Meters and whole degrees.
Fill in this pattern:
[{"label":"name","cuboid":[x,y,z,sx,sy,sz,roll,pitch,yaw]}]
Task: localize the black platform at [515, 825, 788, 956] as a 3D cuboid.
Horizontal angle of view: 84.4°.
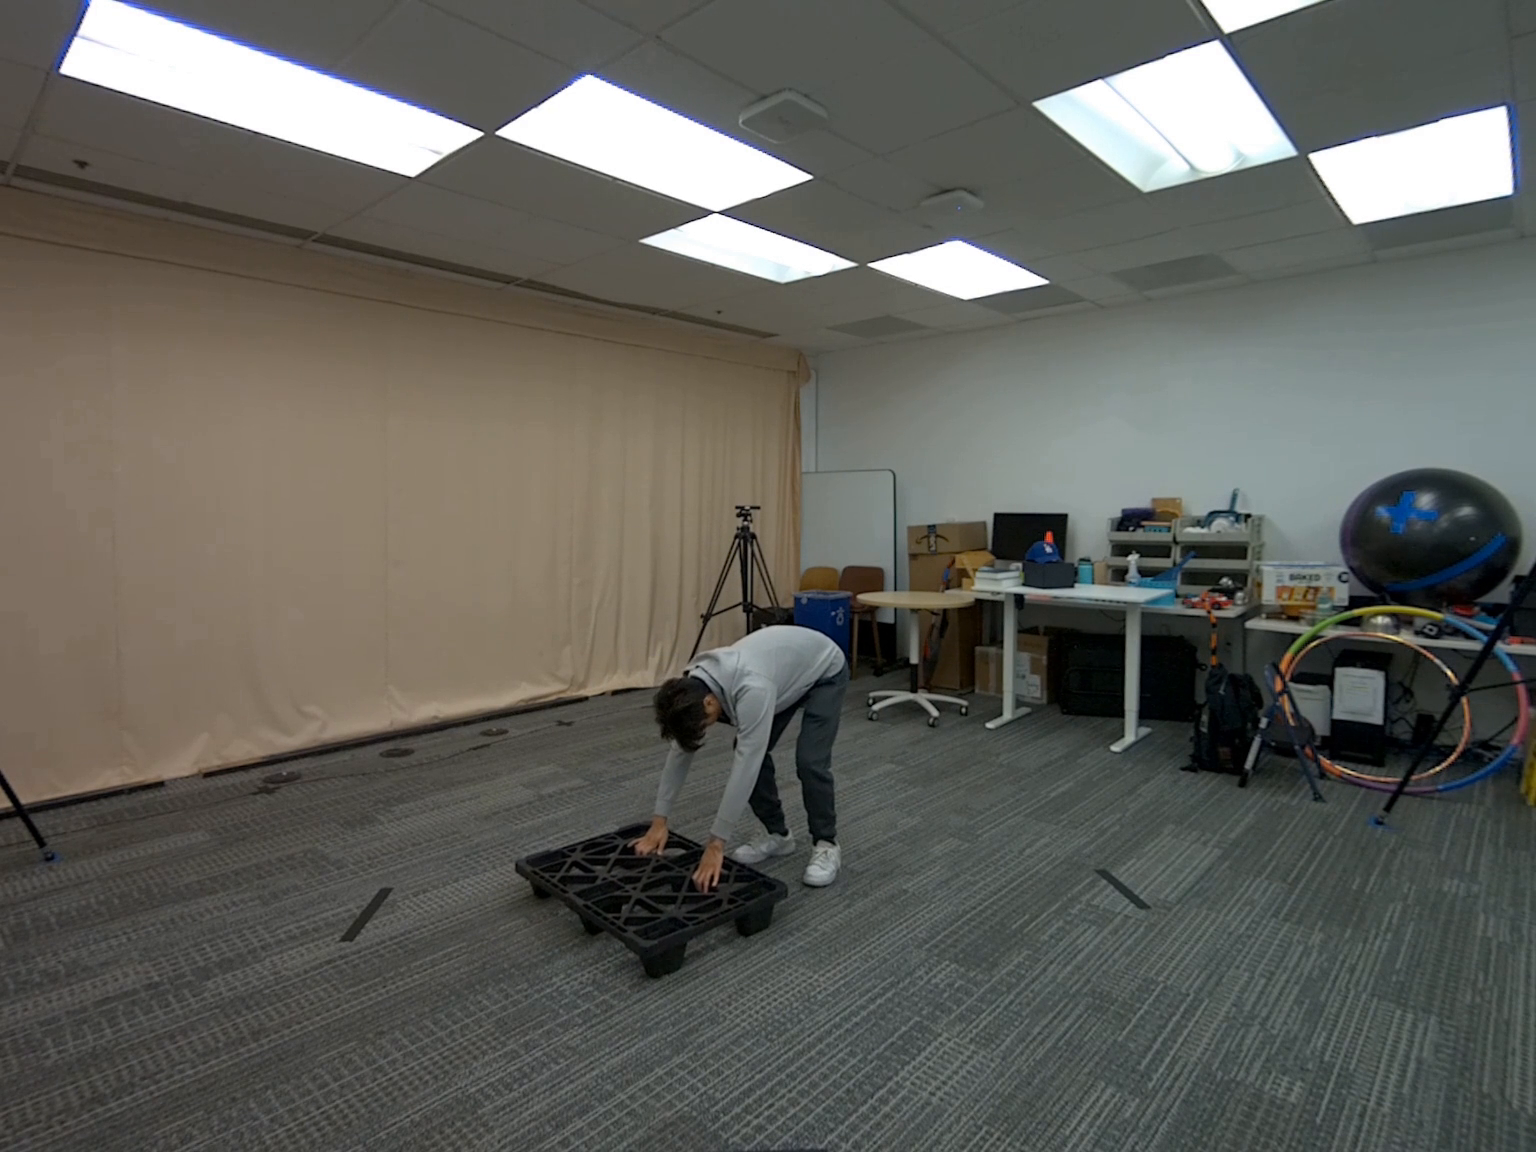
[{"label":"black platform","cuboid":[-0.418,1.089,2.900,0.587,0.143,0.832,-4,6,-42]}]
